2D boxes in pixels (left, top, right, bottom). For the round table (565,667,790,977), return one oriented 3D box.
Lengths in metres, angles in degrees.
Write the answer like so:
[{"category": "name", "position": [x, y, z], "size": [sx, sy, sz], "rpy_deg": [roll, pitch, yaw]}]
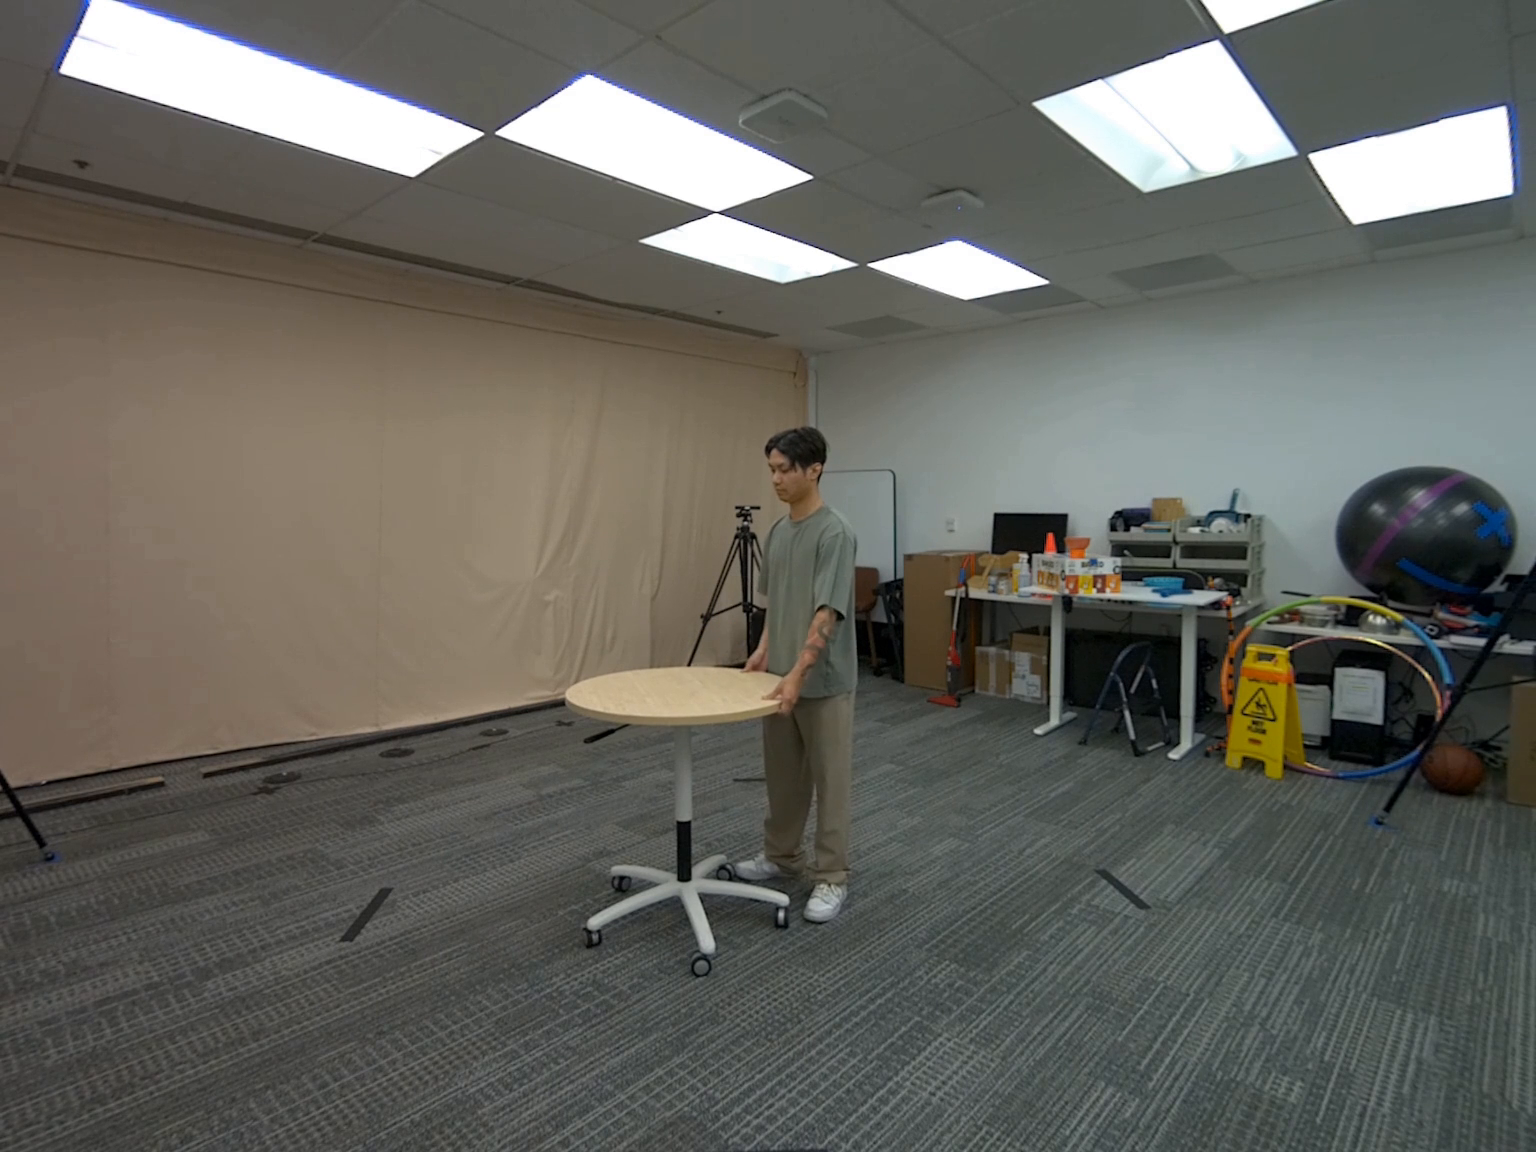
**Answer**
[{"category": "round table", "position": [-0.274, 0.766, 2.810], "size": [0.784, 0.785, 0.788], "rpy_deg": [-1, 4, -2]}]
